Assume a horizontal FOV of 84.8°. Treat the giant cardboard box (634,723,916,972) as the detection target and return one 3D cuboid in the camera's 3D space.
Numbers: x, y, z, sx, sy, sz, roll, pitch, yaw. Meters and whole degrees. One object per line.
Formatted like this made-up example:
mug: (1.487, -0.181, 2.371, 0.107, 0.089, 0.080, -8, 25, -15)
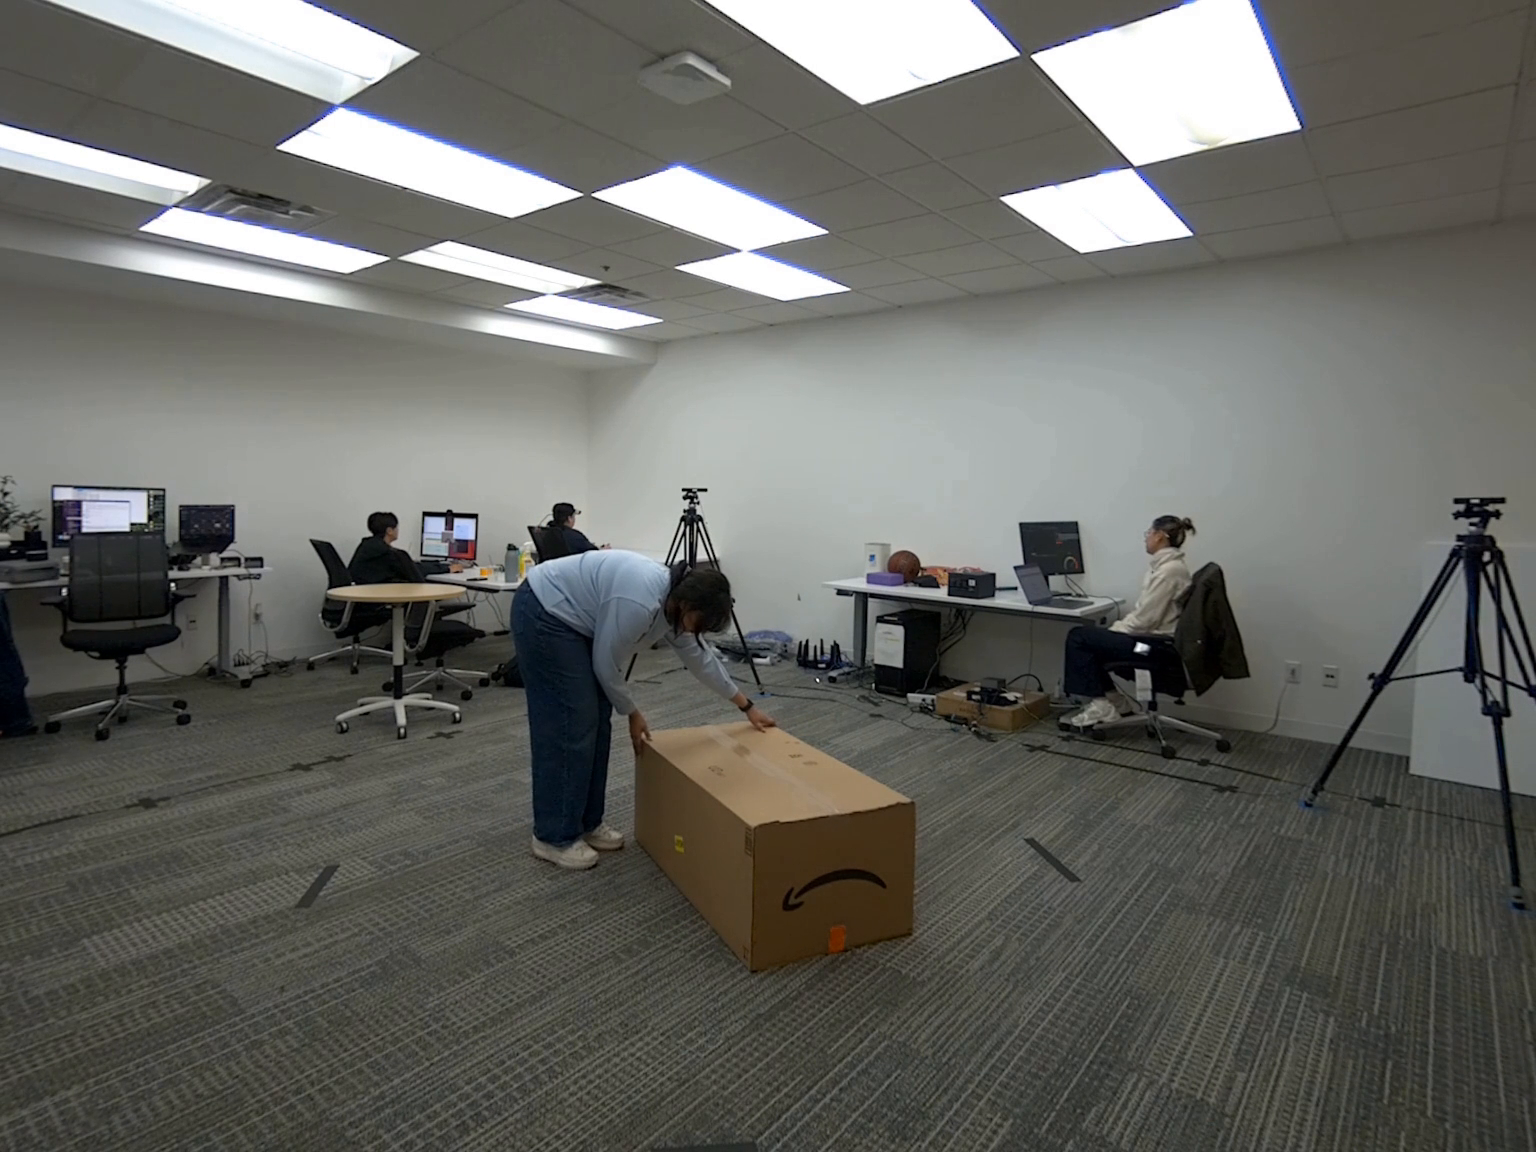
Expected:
giant cardboard box: (-0.035, 0.870, 3.007, 0.563, 0.425, 1.055, -1, 6, -27)
